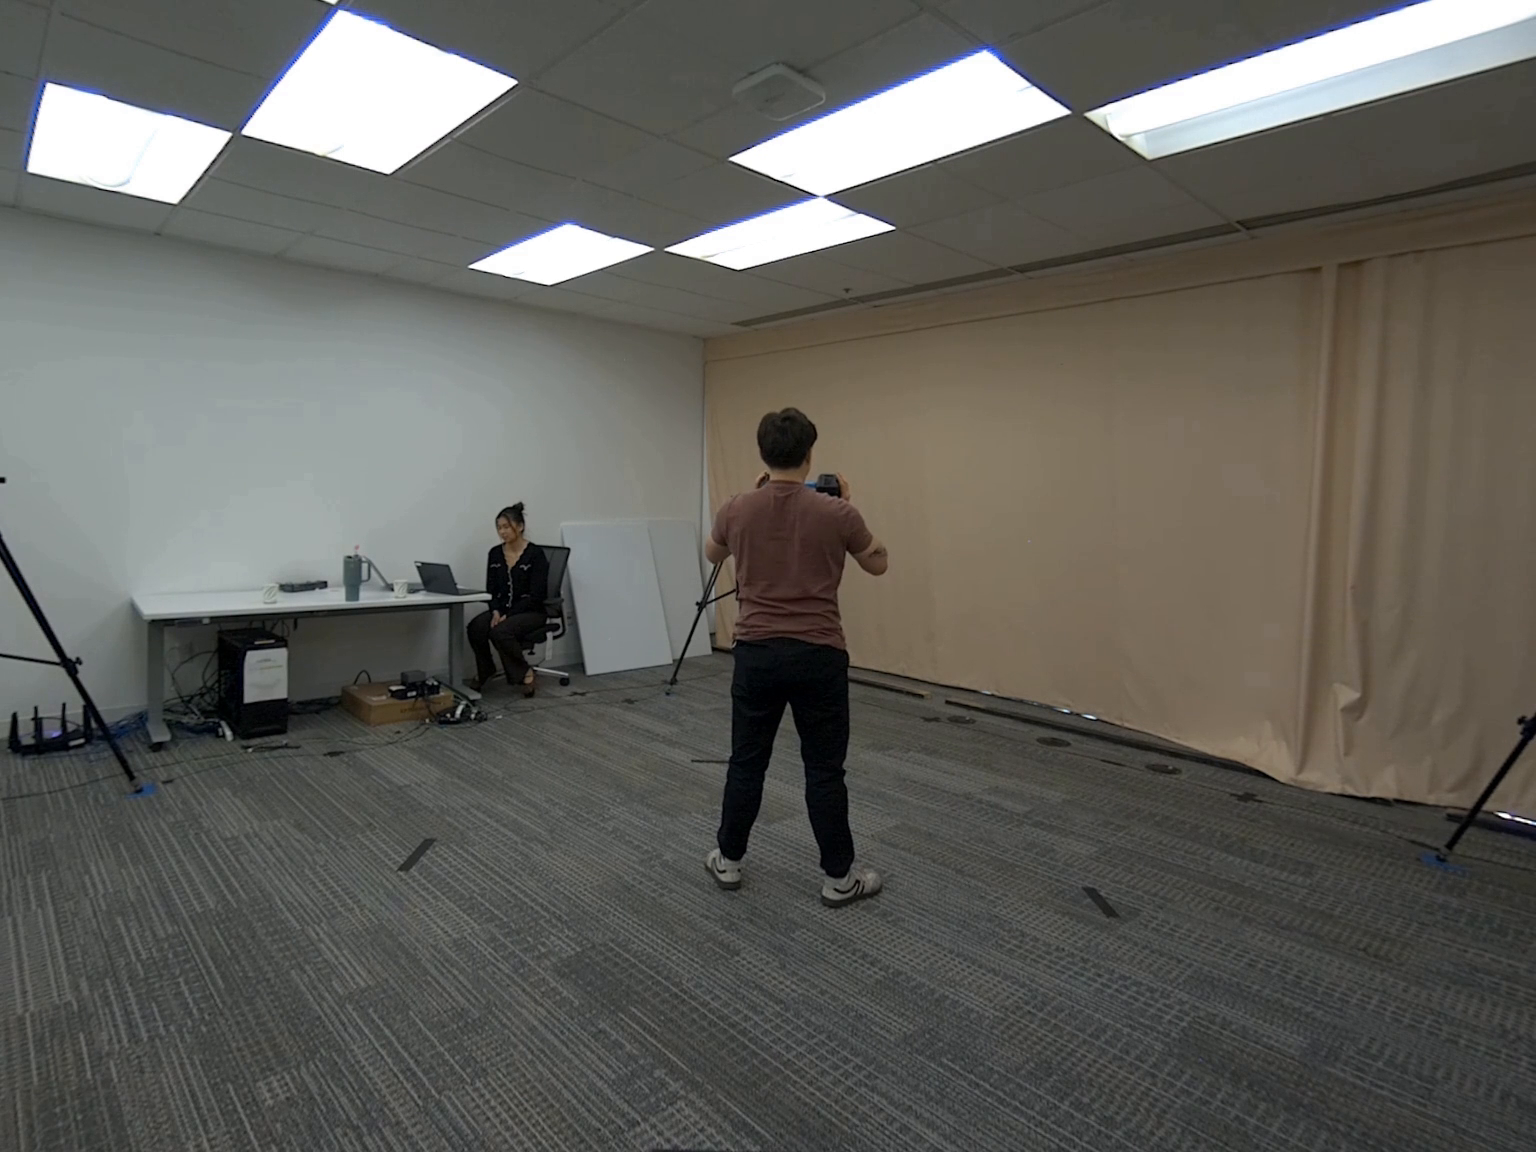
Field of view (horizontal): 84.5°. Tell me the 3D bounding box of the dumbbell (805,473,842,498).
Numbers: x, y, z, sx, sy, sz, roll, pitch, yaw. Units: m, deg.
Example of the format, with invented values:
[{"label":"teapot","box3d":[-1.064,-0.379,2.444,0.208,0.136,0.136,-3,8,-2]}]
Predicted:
[{"label":"dumbbell","box3d":[0.118,-0.305,3.082,0.297,0.109,0.121,1,-8,15]}]
